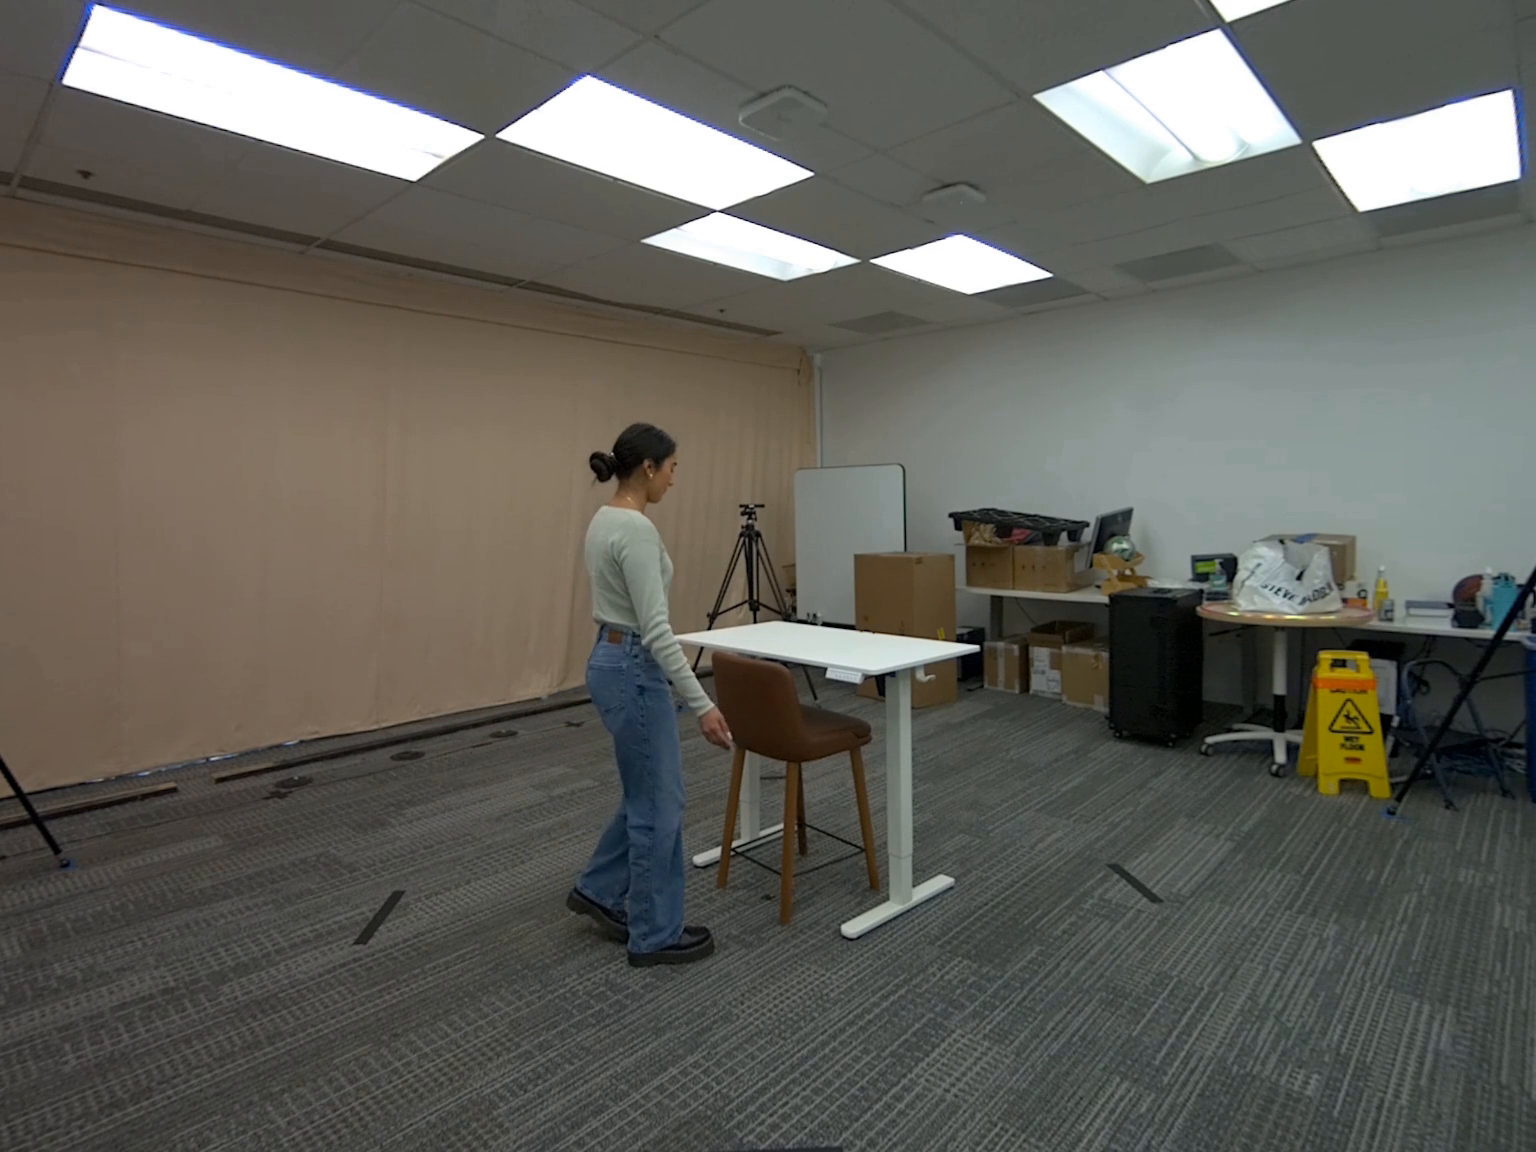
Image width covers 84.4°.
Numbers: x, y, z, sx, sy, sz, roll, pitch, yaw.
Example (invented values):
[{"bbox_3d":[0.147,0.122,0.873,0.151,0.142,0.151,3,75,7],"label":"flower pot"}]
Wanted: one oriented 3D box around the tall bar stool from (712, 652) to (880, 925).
[{"bbox_3d":[0.087,0.700,3.031,0.454,0.886,0.471,-7,7,-39],"label":"tall bar stool"}]
